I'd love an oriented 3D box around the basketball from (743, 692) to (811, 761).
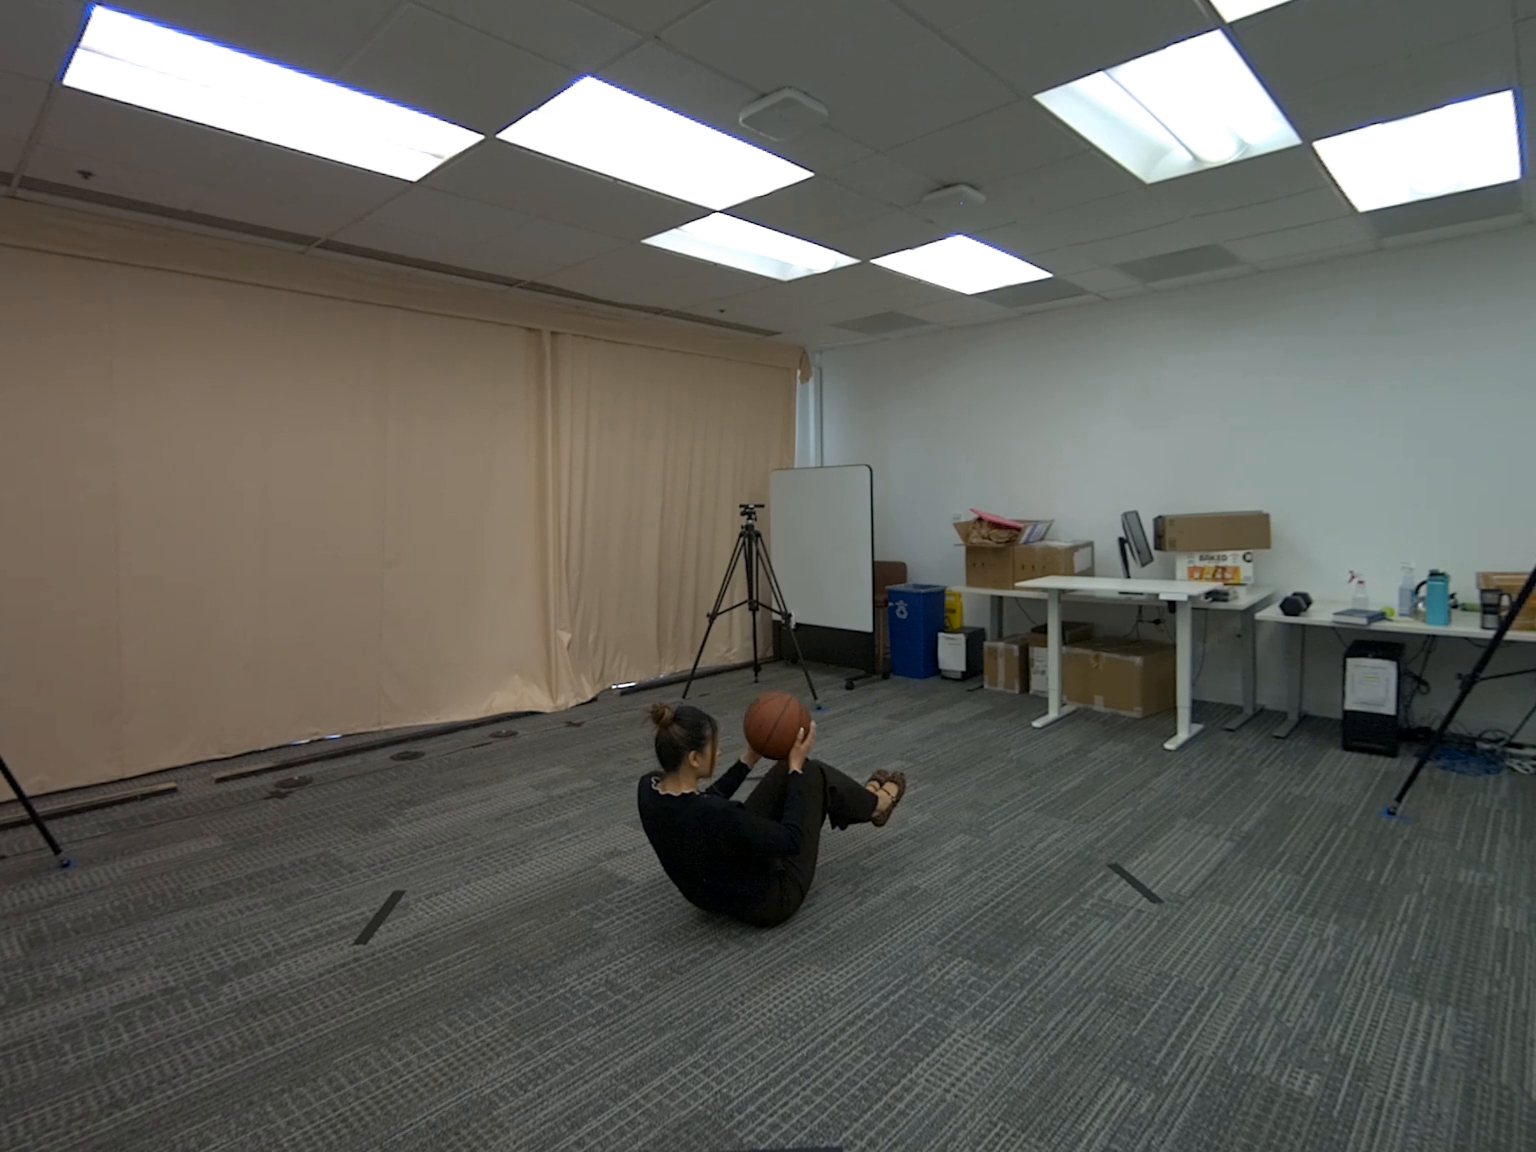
[{"bbox_3d":[0.028,0.531,2.905,0.236,0.235,0.237,-1,4,-2],"label":"basketball"}]
